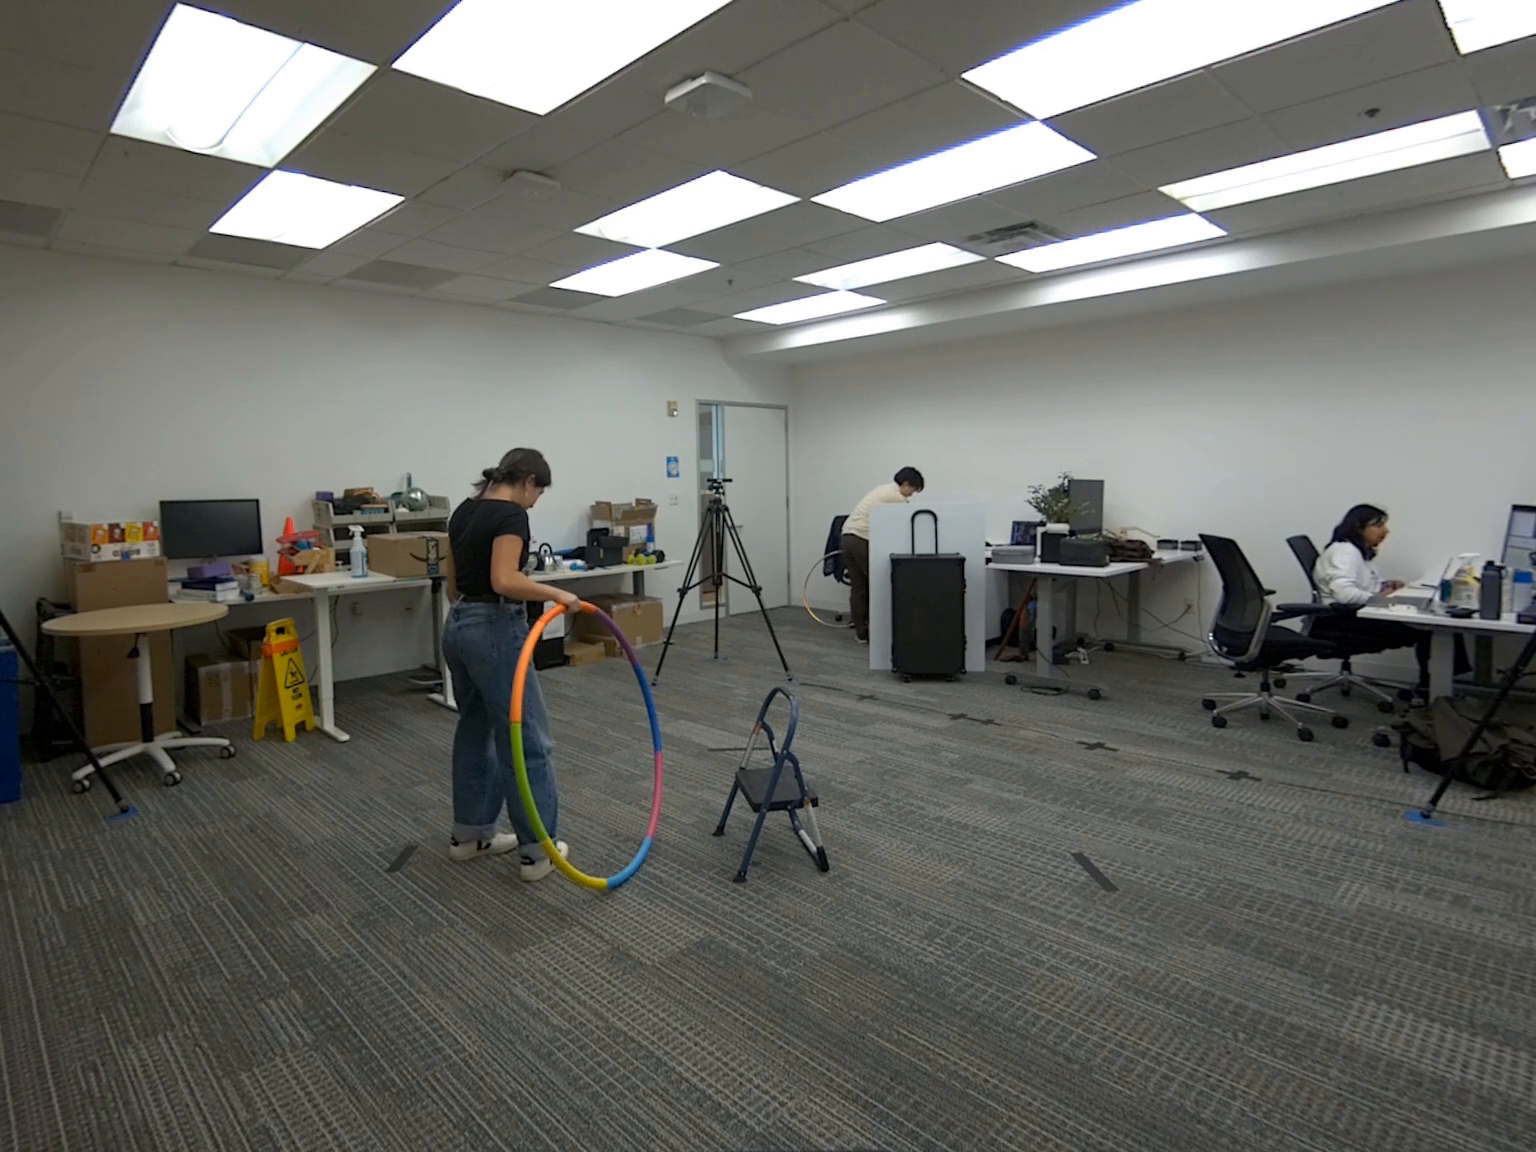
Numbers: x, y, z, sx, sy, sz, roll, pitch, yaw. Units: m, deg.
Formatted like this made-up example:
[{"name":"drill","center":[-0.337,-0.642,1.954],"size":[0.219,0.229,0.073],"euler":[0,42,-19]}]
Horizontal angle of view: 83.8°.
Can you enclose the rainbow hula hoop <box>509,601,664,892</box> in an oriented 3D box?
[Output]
[{"name":"rainbow hula hoop","center":[-0.602,0.580,3.043],"size":[0.036,0.979,0.966],"euler":[-14,1,17]}]
